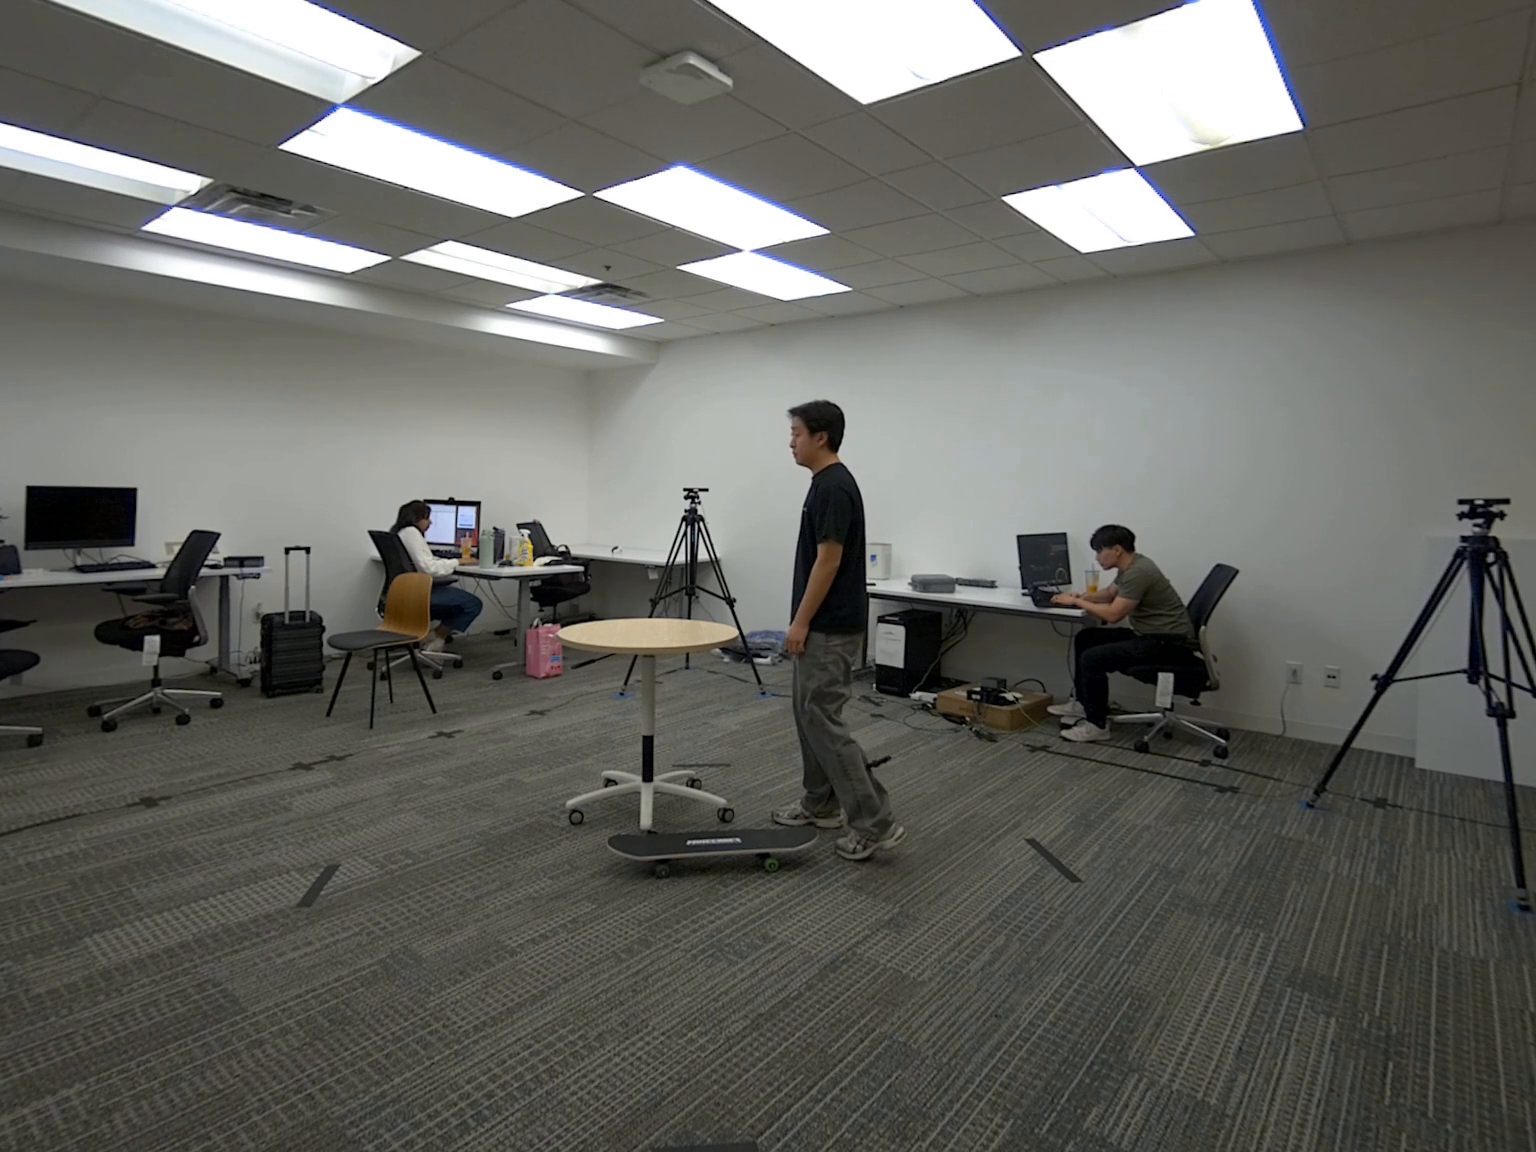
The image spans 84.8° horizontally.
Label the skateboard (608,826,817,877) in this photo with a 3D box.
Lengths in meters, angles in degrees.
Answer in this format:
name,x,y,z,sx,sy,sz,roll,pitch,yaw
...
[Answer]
name,x,y,z,sx,sy,sz,roll,pitch,yaw
skateboard,-0.211,1.011,3.146,0.776,0.110,0.196,-1,5,-11
